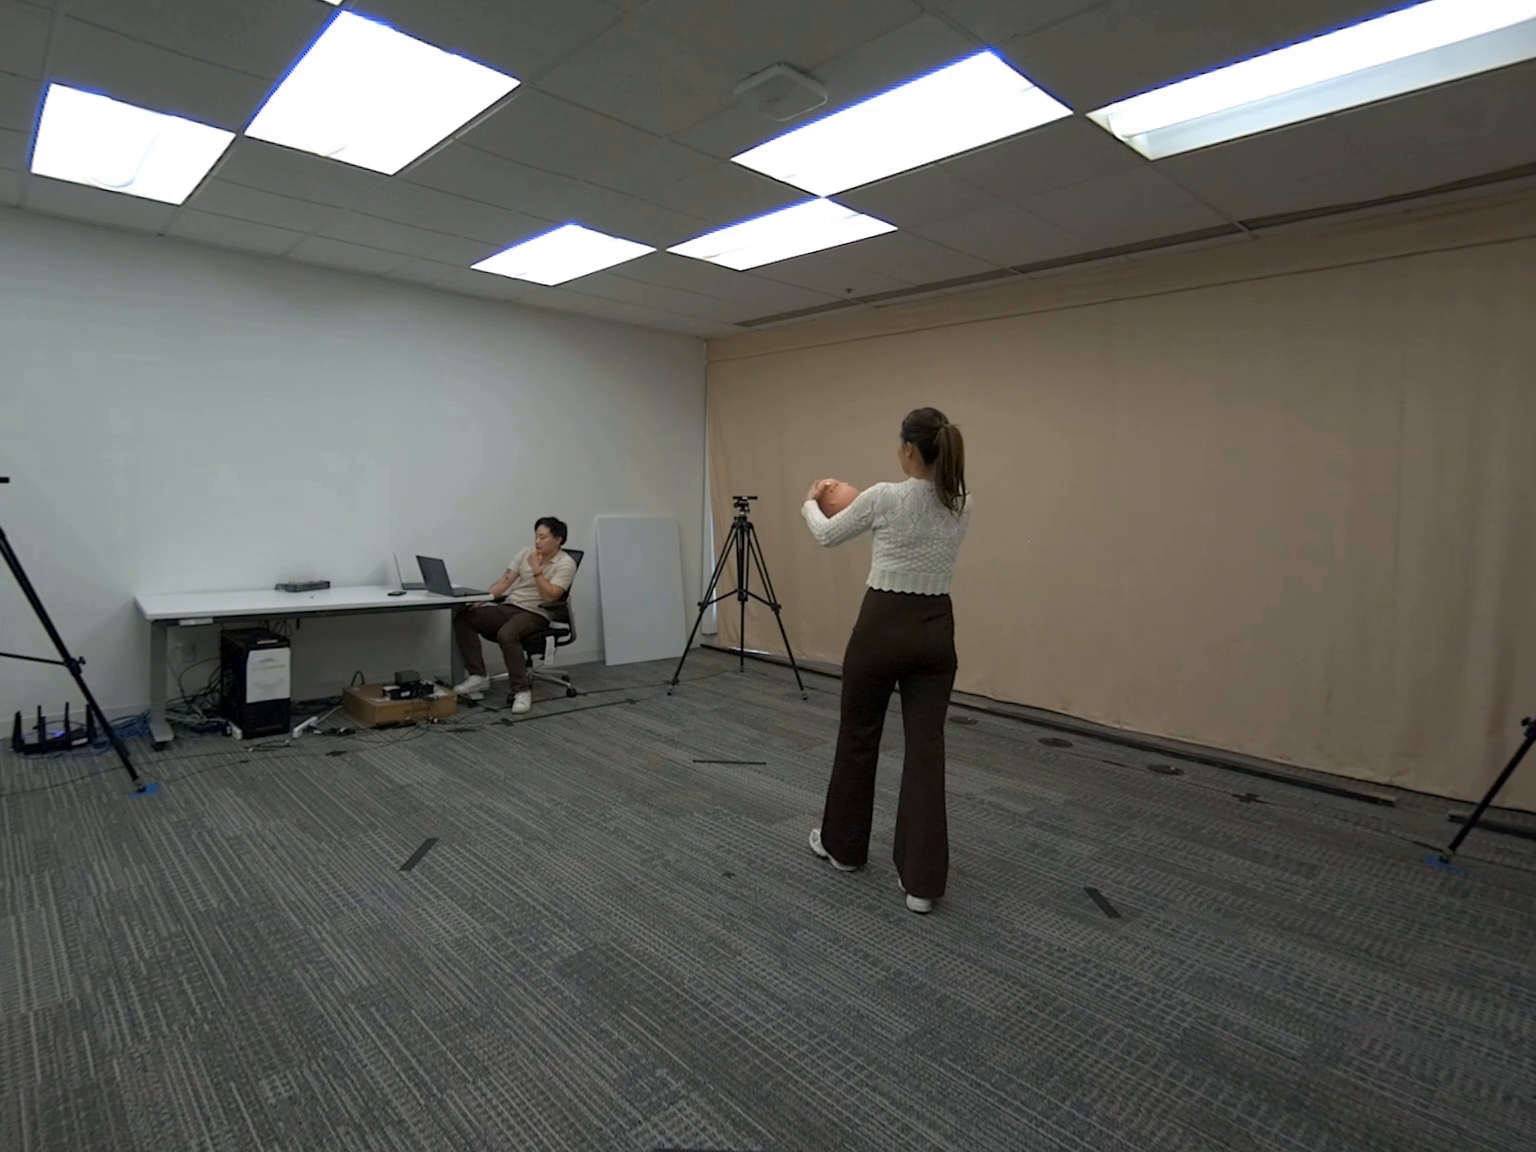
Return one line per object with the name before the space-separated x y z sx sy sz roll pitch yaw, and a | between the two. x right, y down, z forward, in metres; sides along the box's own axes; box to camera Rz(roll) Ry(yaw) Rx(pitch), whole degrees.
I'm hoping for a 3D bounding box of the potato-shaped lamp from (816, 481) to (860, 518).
potato-shaped lamp | 0.270 -0.311 3.409 0.197 0.165 0.172 41 -25 -5
